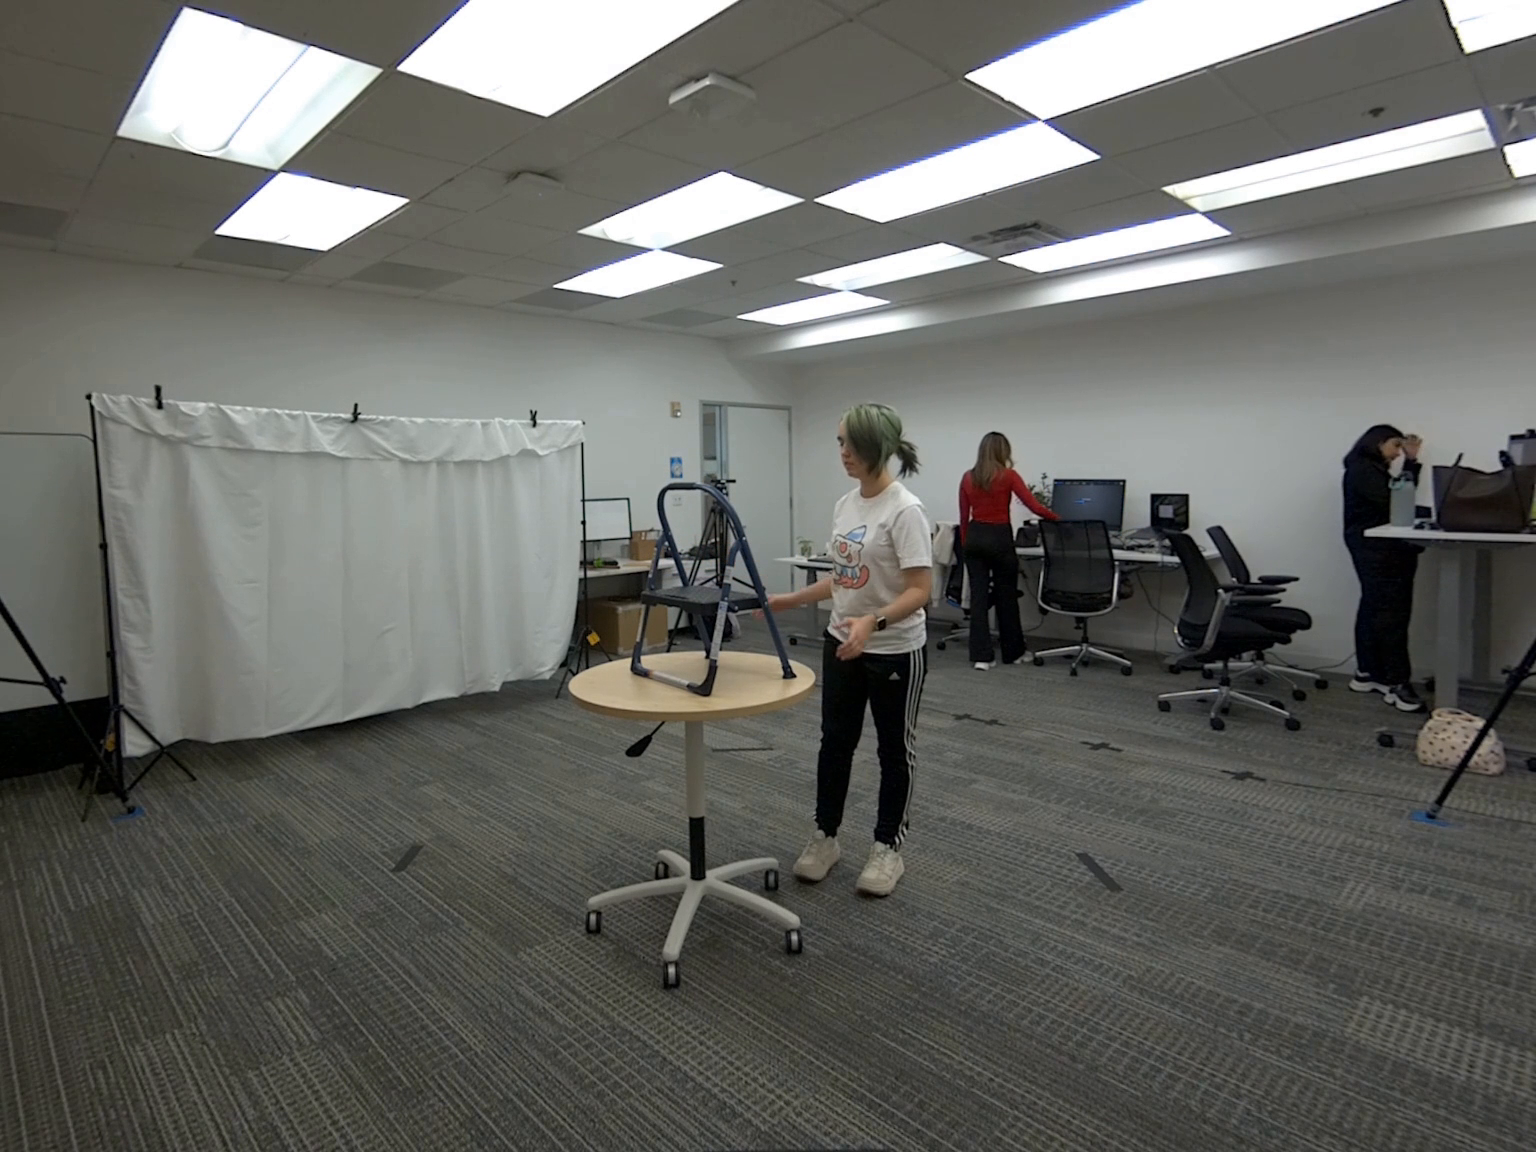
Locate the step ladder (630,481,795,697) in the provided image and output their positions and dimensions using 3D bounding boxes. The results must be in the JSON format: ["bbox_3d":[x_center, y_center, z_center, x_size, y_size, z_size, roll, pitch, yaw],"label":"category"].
[{"bbox_3d":[-0.188,0.013,2.665,0.340,0.604,0.443,-5,6,-40],"label":"step ladder"}]
